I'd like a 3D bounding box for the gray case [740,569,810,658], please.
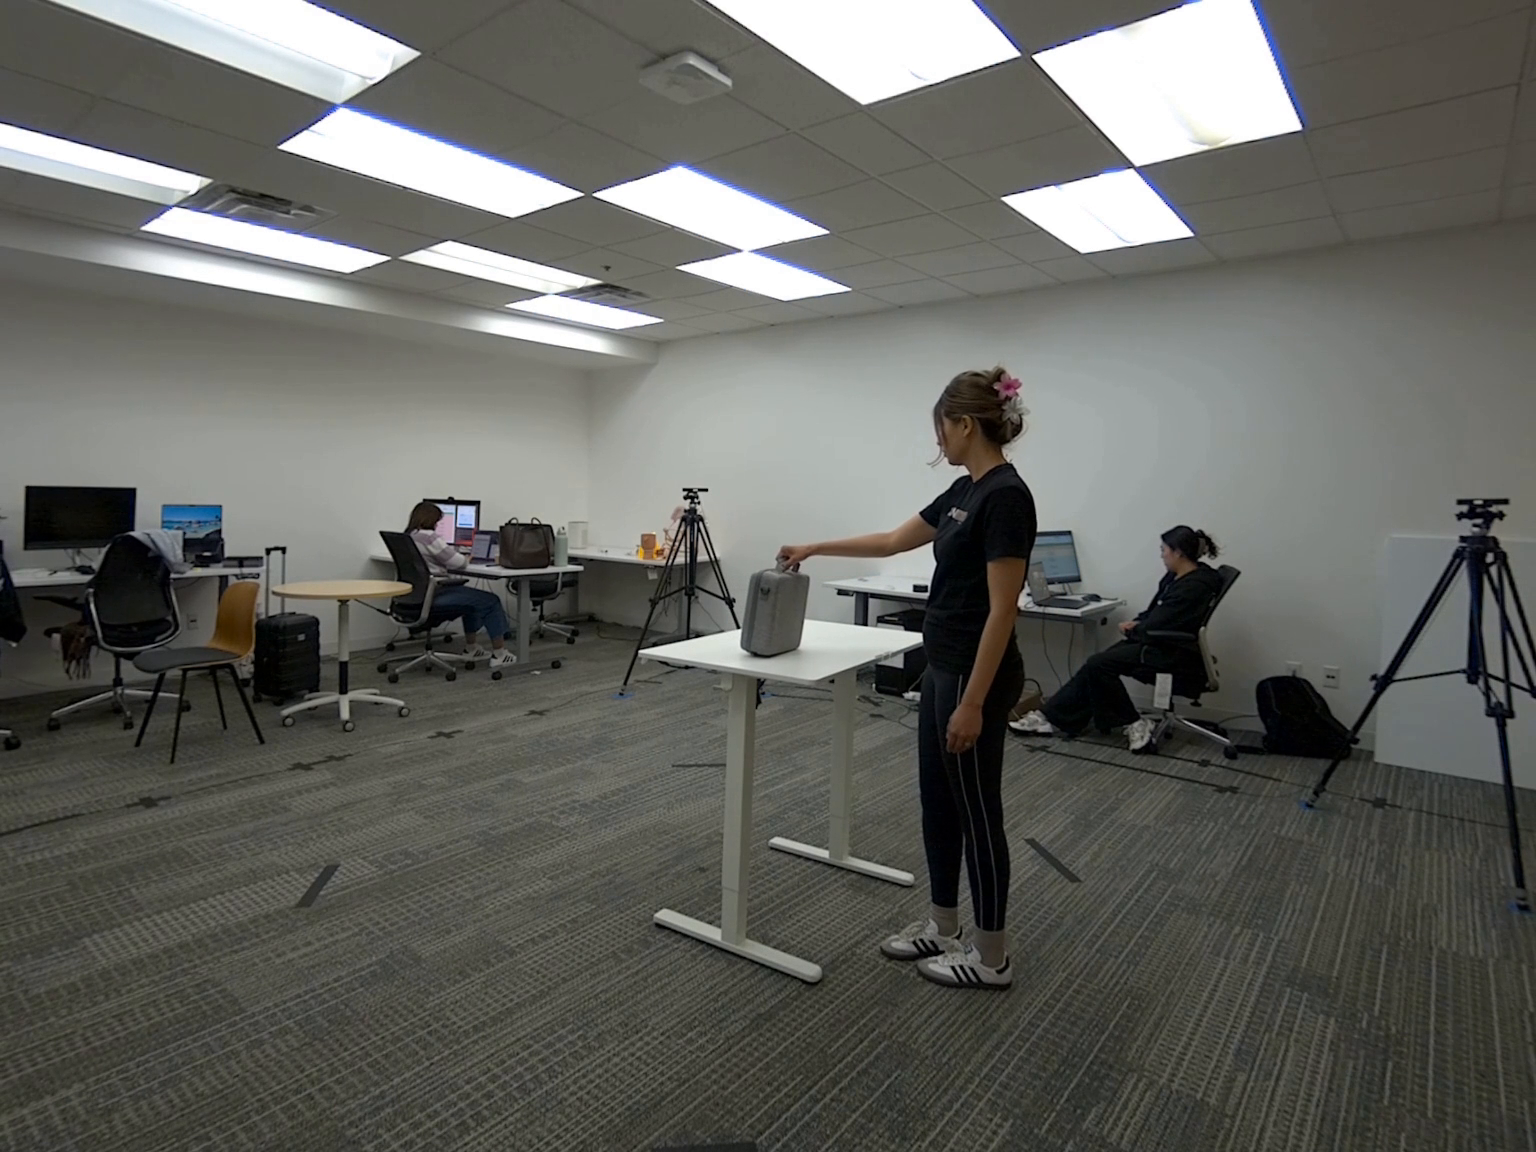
[{"bbox_3d":[0.017,0.100,2.649,0.107,0.260,0.250,9,5,29],"label":"gray case"}]
